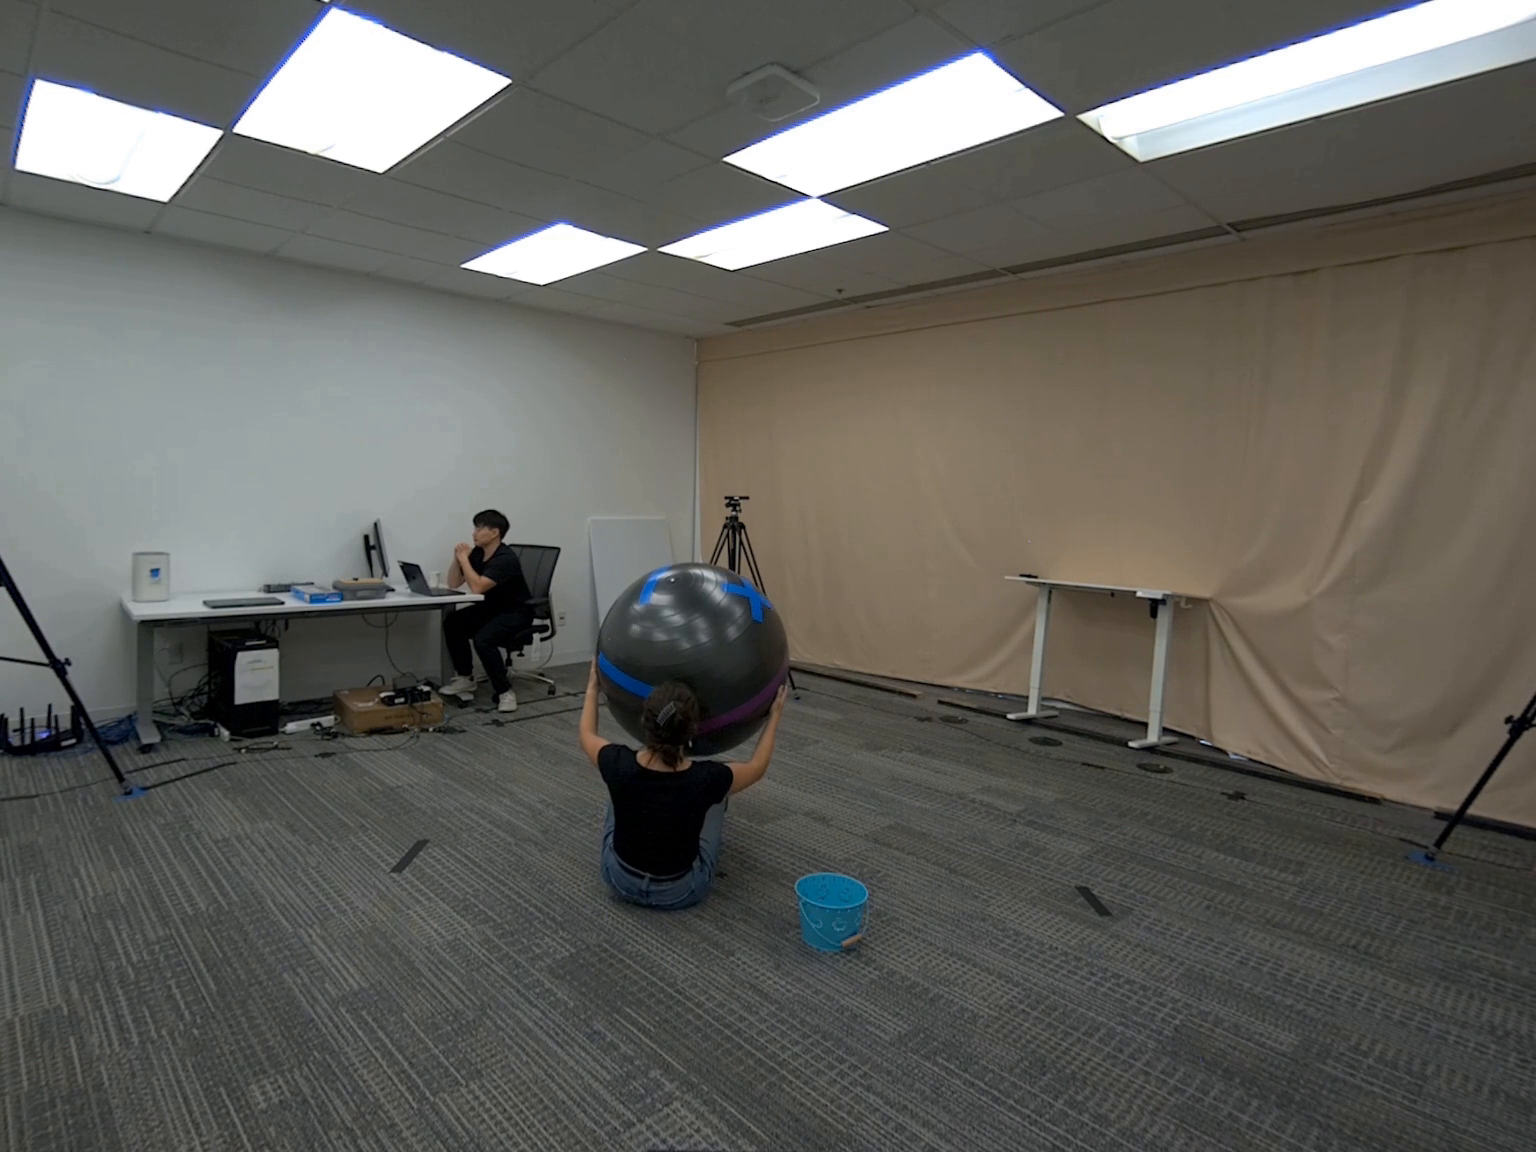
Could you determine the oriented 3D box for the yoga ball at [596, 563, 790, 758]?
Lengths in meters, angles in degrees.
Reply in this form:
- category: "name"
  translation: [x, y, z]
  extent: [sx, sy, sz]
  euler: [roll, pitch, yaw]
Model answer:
- category: "yoga ball"
  translation: [-0.321, 0.331, 3.317]
  extent: [0.757, 0.756, 0.761]
  euler: [1, 4, -1]
